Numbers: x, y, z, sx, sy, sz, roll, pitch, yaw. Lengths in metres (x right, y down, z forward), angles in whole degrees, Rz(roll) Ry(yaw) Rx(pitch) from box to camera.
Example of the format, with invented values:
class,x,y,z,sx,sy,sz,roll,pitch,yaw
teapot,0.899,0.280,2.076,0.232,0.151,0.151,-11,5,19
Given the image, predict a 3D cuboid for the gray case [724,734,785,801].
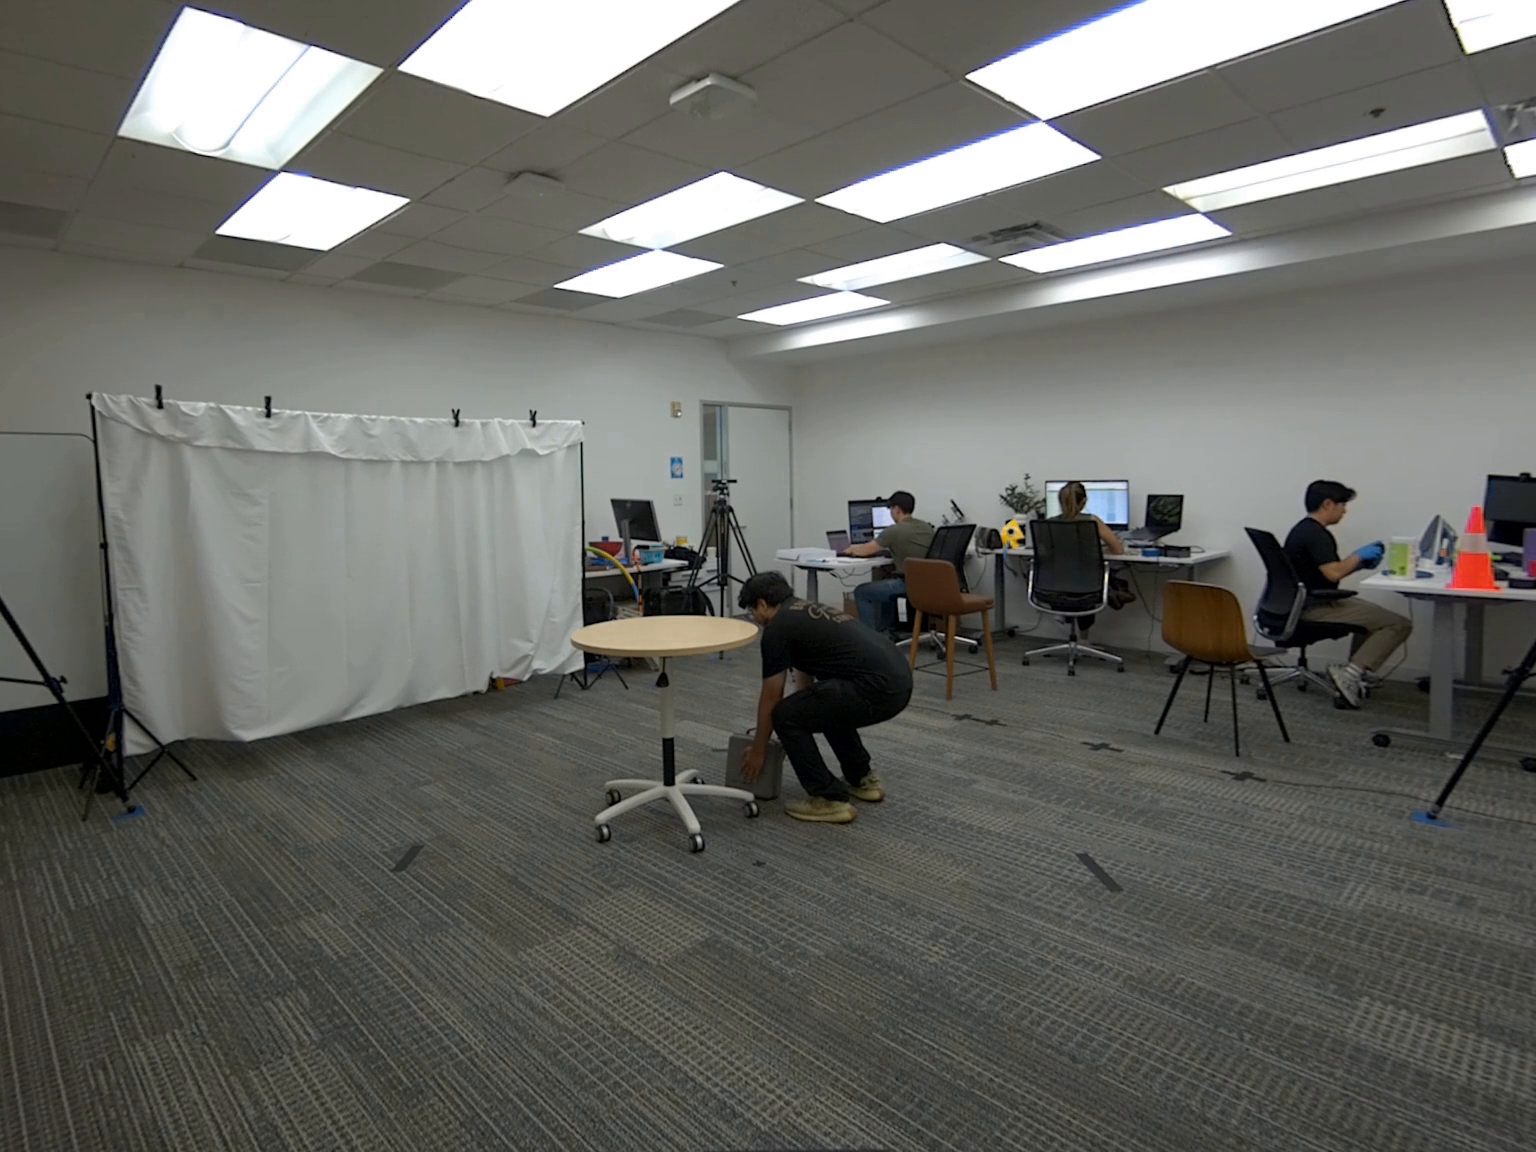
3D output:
class,x,y,z,sx,sy,sz,roll,pitch,yaw
gray case,-0.061,0.843,3.815,0.264,0.261,0.101,3,-5,36
